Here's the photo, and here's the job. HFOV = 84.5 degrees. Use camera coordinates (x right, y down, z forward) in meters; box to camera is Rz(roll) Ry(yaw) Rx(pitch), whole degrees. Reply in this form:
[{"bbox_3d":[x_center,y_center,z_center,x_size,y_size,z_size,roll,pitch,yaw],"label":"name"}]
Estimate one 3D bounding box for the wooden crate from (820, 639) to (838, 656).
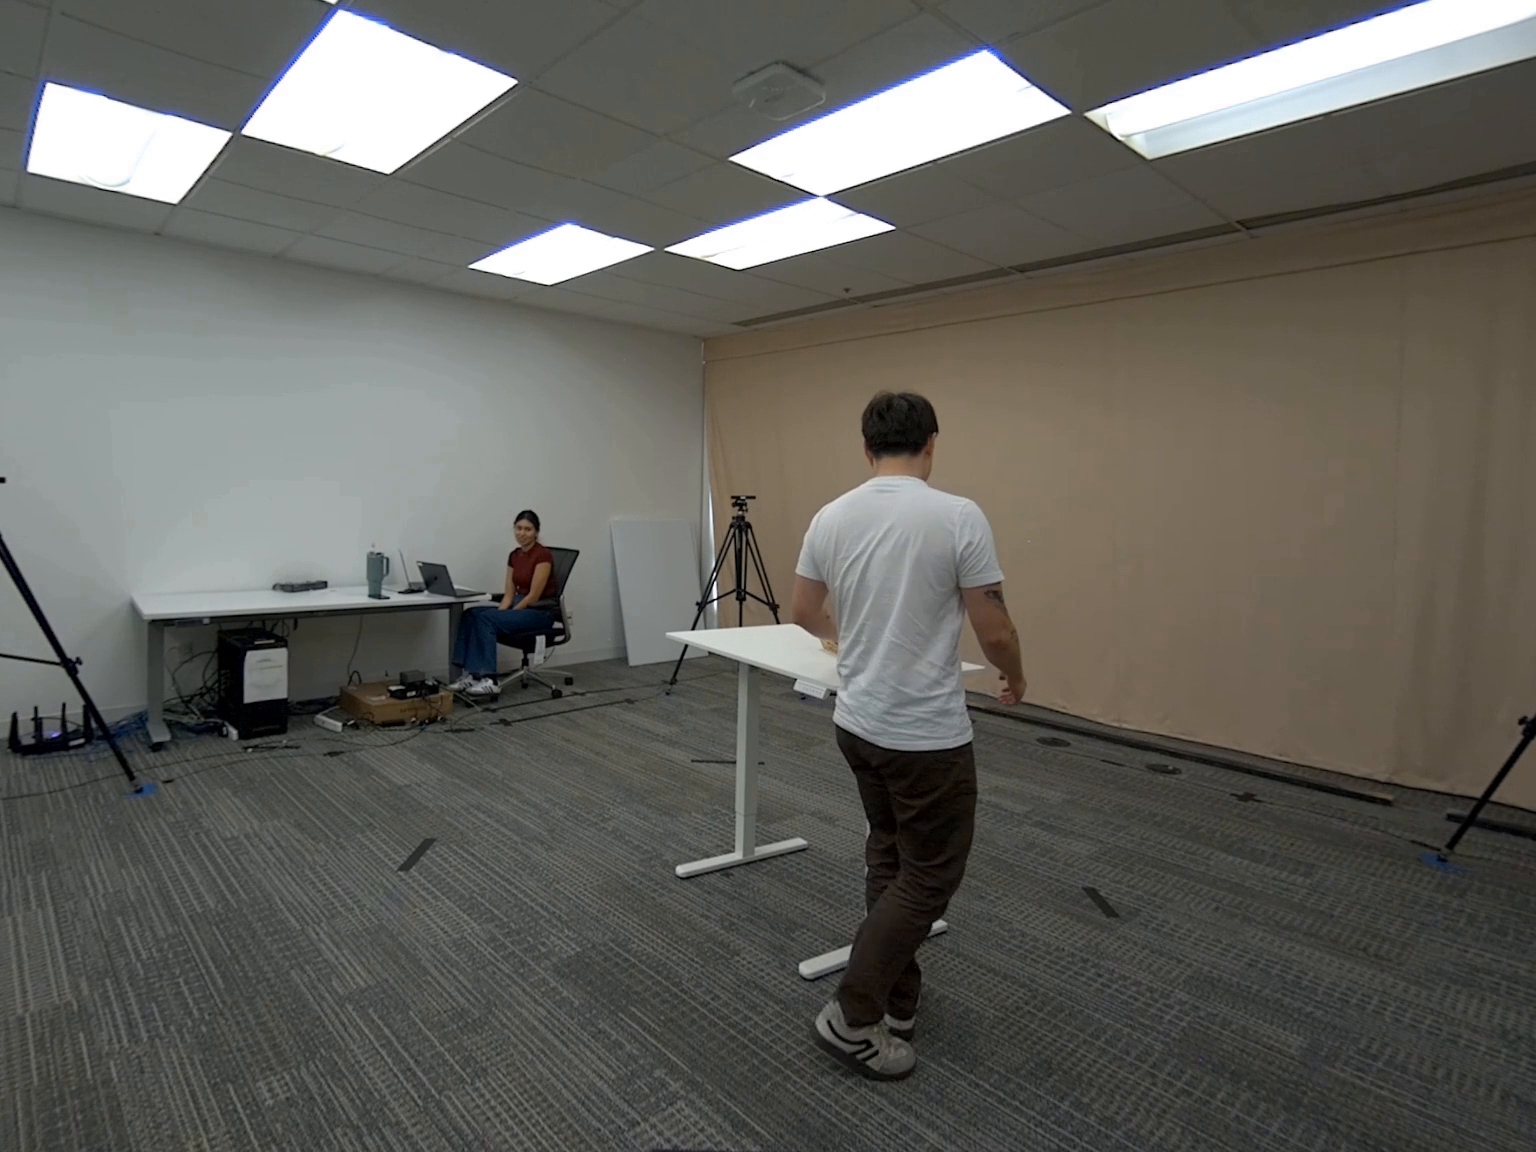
[{"bbox_3d":[0.367,0.136,2.764,0.298,0.272,0.330,0,5,-19],"label":"wooden crate"}]
